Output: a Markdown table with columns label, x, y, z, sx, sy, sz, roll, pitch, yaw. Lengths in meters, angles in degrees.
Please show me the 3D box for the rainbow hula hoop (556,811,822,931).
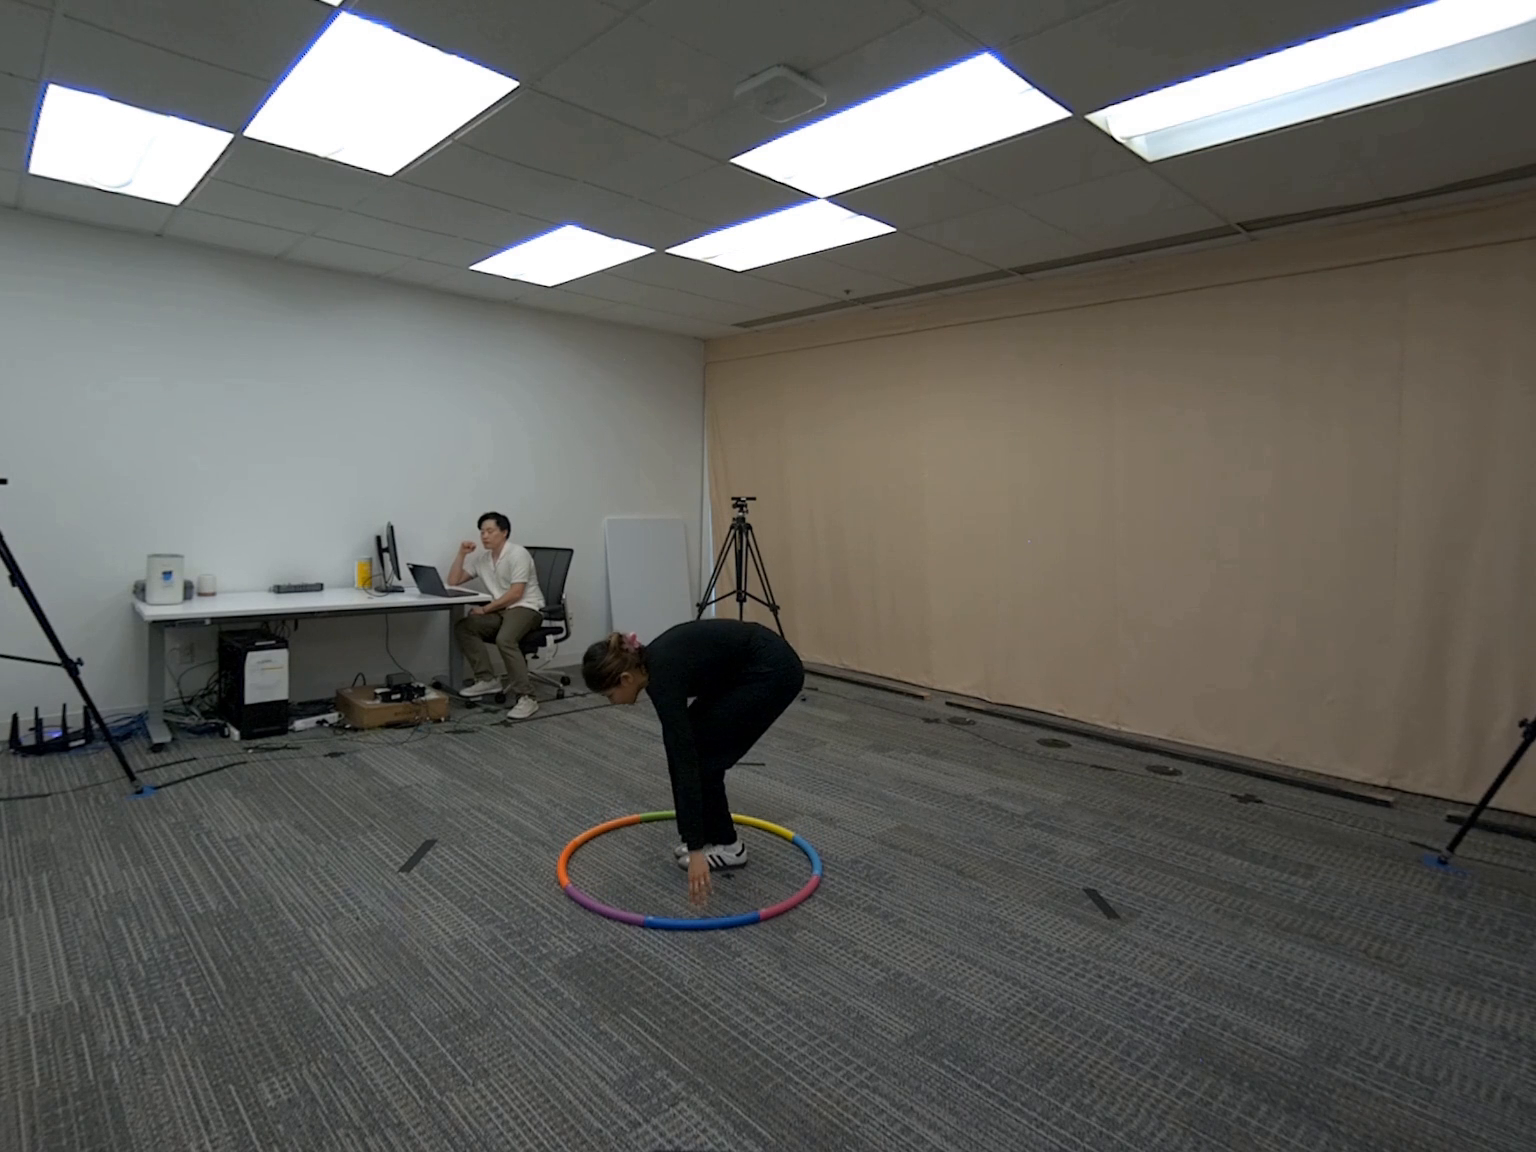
| label | x | y | z | sx | sy | sz | roll | pitch | yaw |
| --- | --- | --- | --- | --- | --- | --- | --- | --- | --- |
| rainbow hula hoop | -0.299 | 1.067 | 3.178 | 0.978 | 0.035 | 0.982 | 1 | 5 | -1 |
